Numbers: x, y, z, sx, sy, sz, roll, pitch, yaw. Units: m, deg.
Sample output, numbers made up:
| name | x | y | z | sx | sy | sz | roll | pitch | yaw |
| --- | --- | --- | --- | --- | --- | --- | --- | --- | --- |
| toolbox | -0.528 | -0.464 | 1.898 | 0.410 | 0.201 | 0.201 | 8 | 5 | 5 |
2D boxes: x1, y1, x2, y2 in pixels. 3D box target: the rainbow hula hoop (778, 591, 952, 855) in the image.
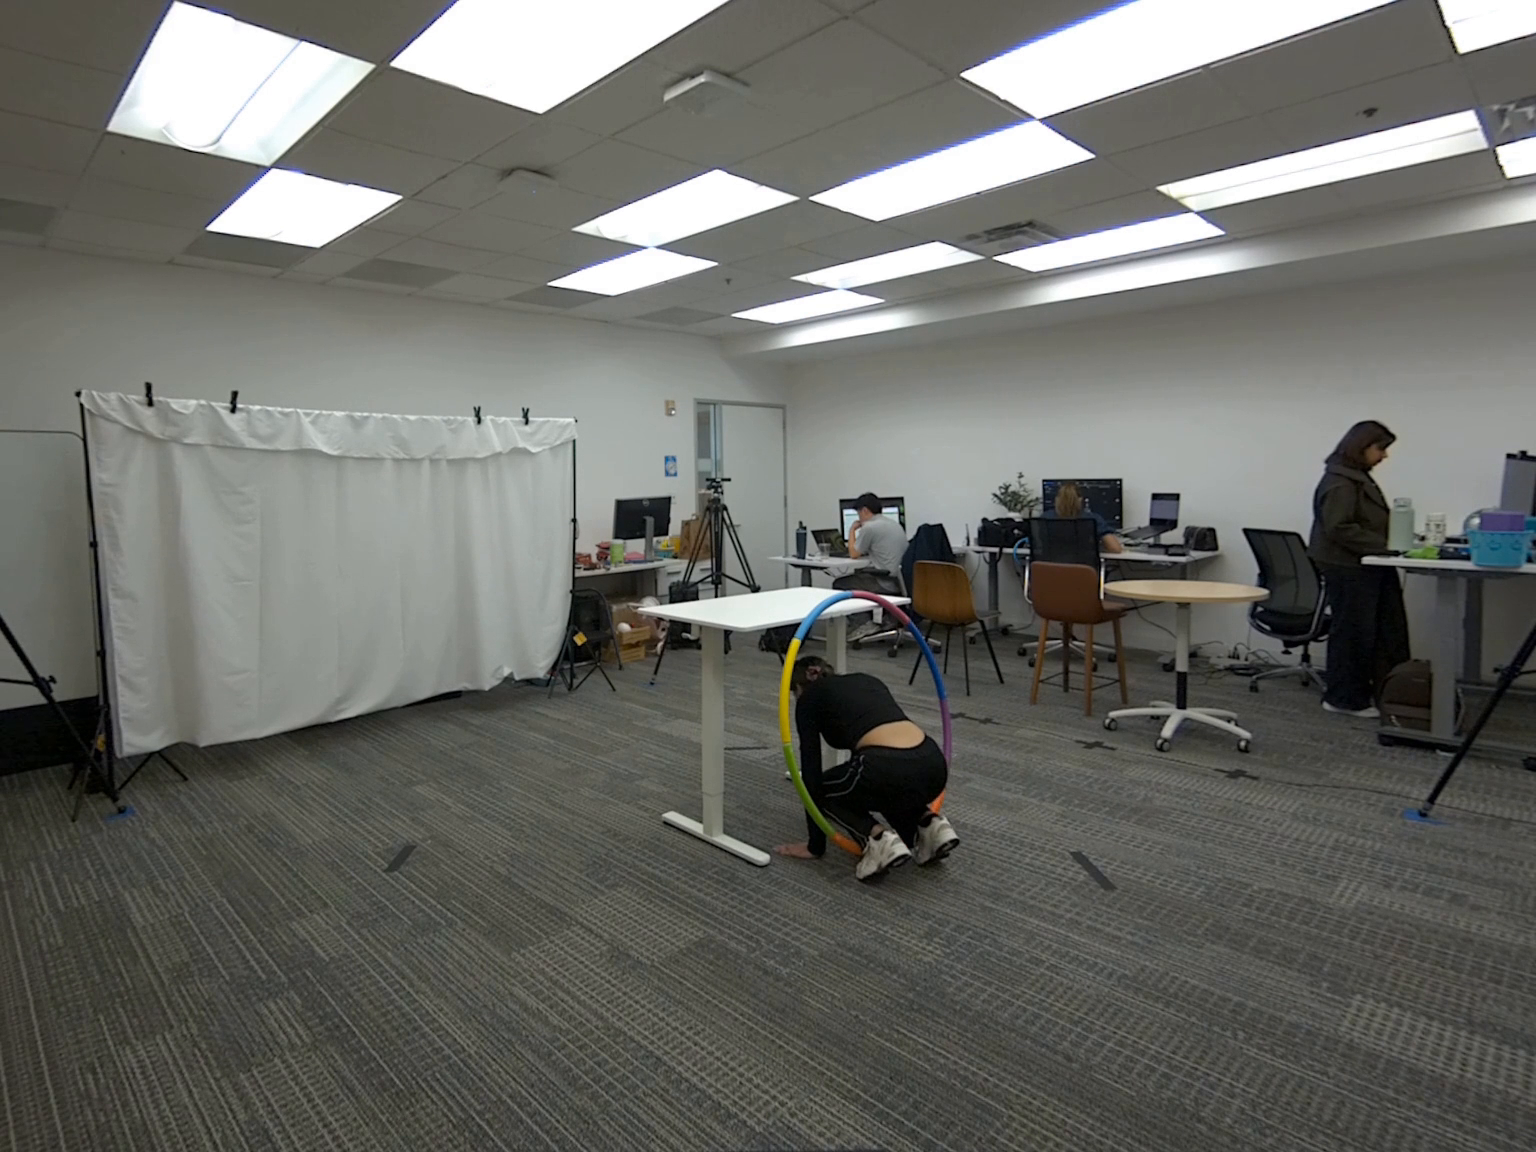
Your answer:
| name | x | y | z | sx | sy | sz | roll | pitch | yaw |
| --- | --- | --- | --- | --- | --- | --- | --- | --- | --- |
| rainbow hula hoop | 0.401 | 0.547 | 3.247 | 0.953 | 0.986 | 0.036 | -6 | -9 | -44 |
